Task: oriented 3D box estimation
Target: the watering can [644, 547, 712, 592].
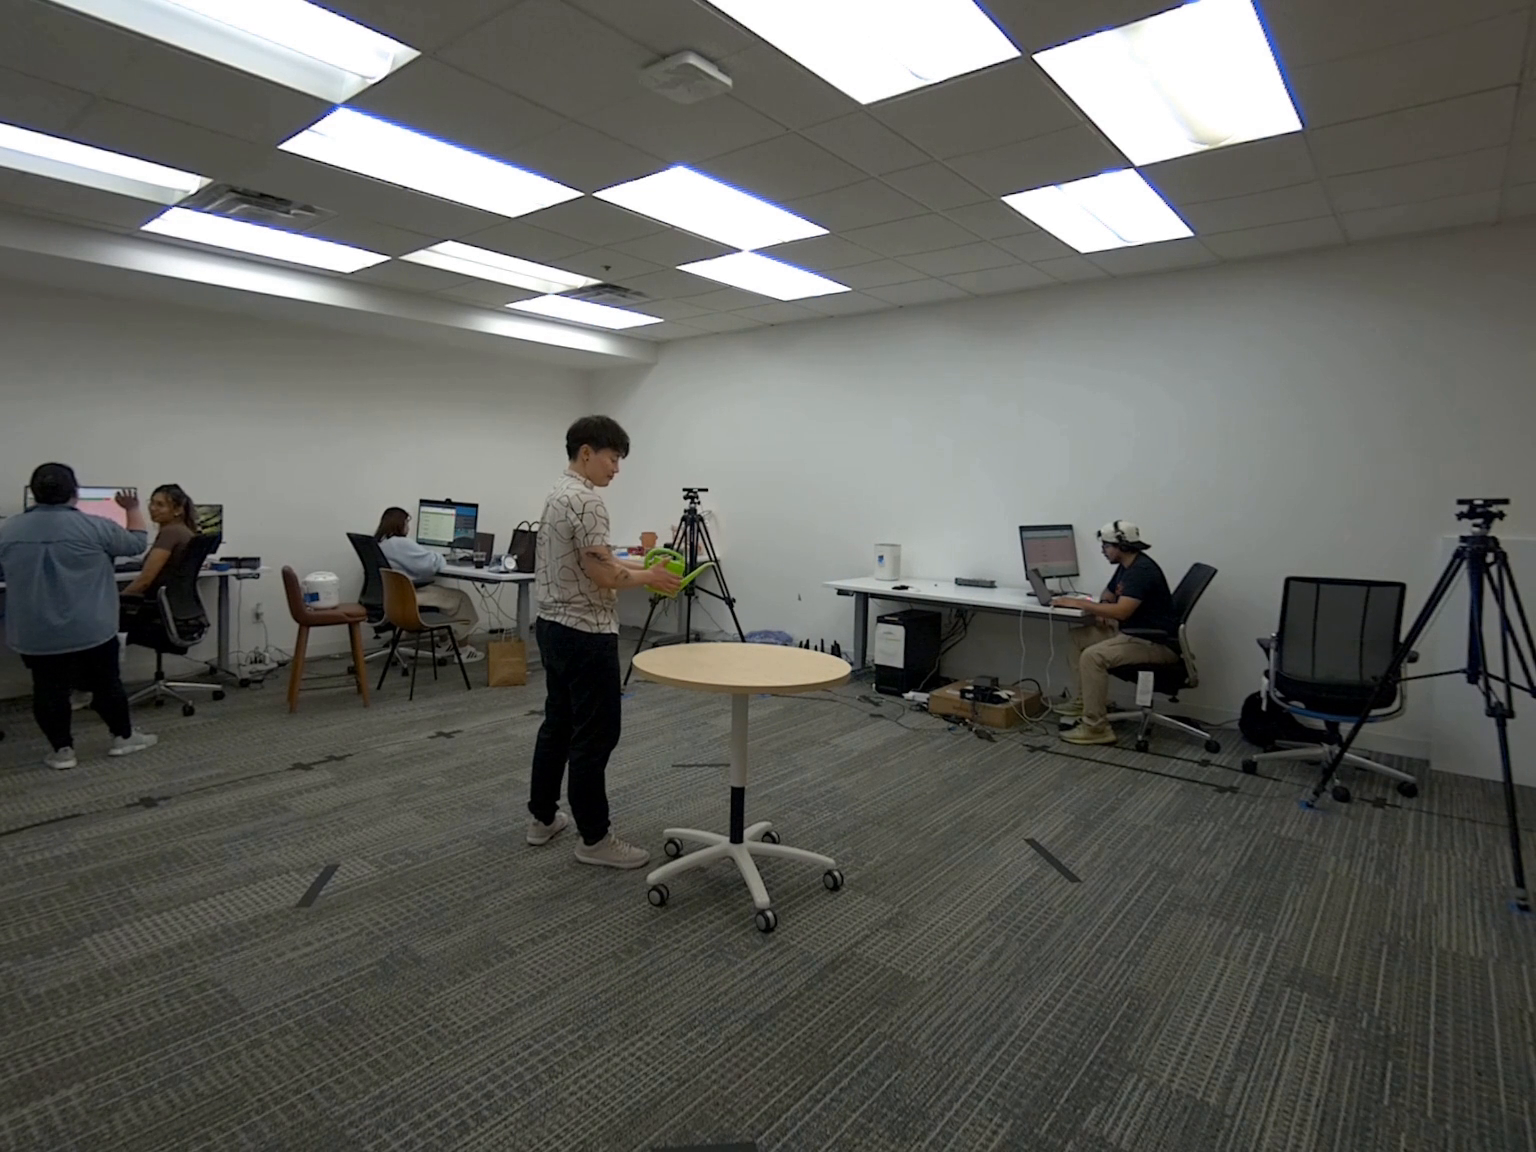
[{"bbox_3d":[-0.374,-0.003,3.351,0.280,0.176,0.097,17,2,4],"label":"watering can"}]
